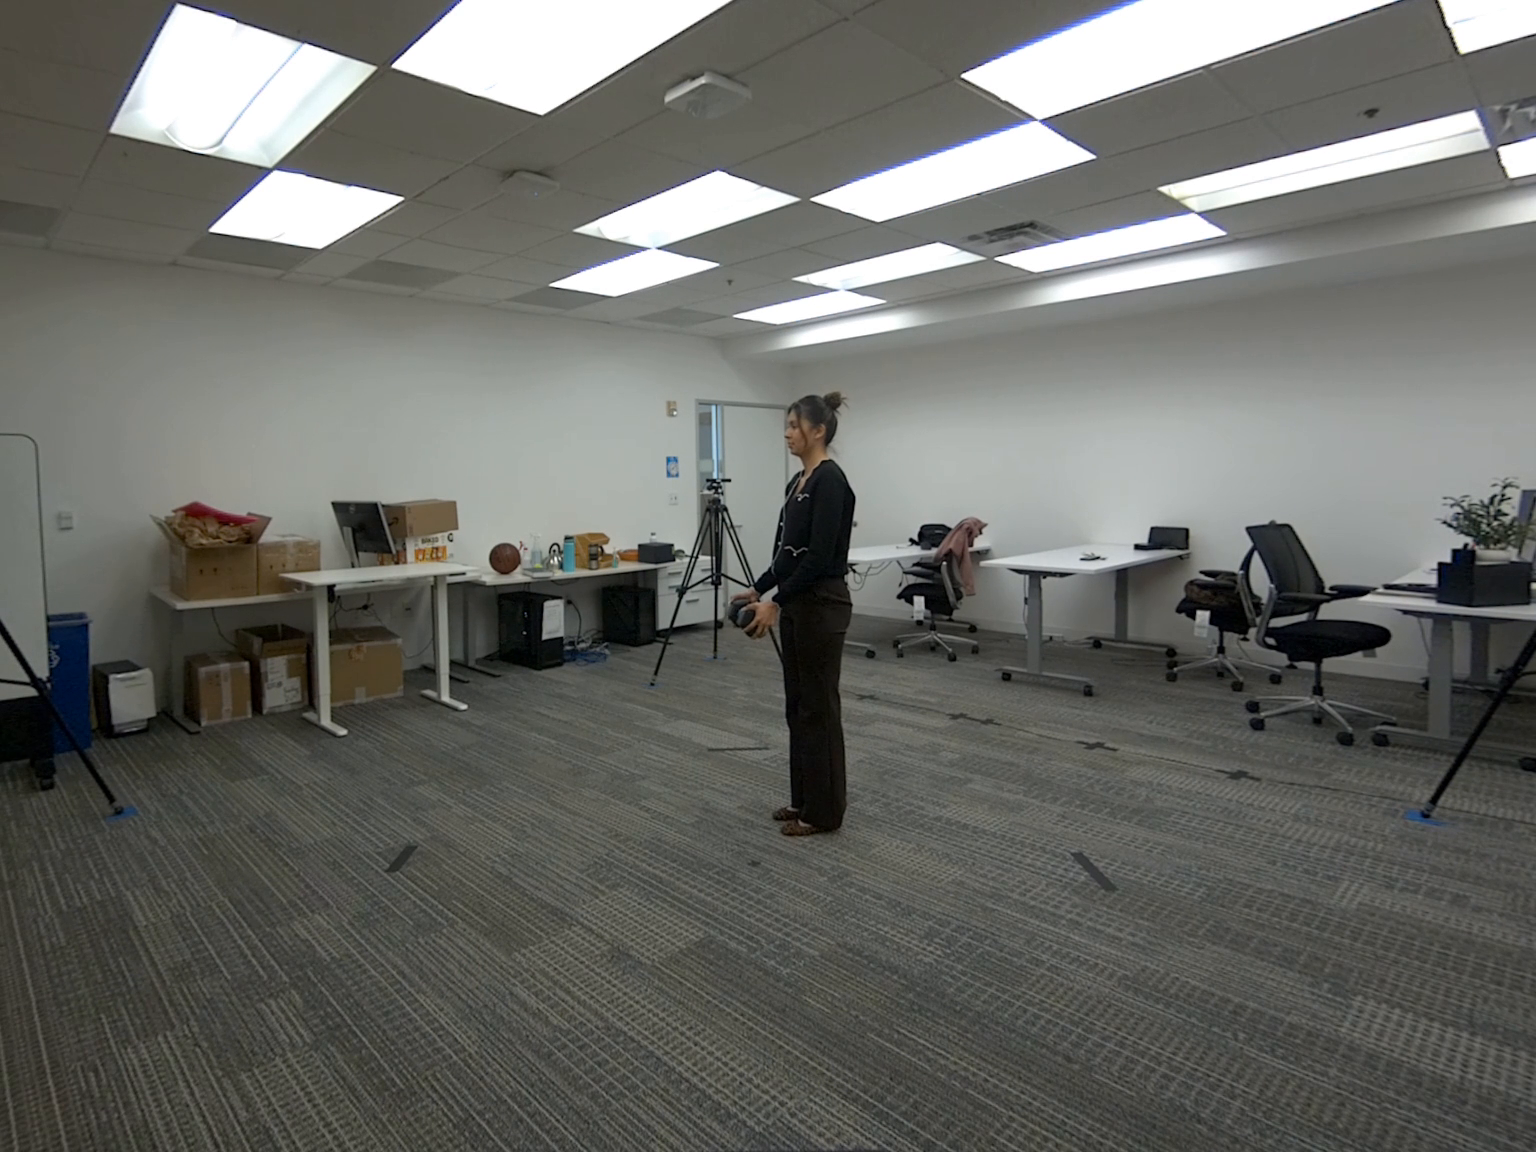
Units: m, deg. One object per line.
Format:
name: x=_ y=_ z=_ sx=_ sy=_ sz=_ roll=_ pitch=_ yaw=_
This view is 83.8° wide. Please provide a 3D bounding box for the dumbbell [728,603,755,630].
dumbbell: x=-0.083 y=0.151 z=3.394 sx=0.108 sy=0.123 sz=0.297 roll=17 pitch=3 yaw=-9
